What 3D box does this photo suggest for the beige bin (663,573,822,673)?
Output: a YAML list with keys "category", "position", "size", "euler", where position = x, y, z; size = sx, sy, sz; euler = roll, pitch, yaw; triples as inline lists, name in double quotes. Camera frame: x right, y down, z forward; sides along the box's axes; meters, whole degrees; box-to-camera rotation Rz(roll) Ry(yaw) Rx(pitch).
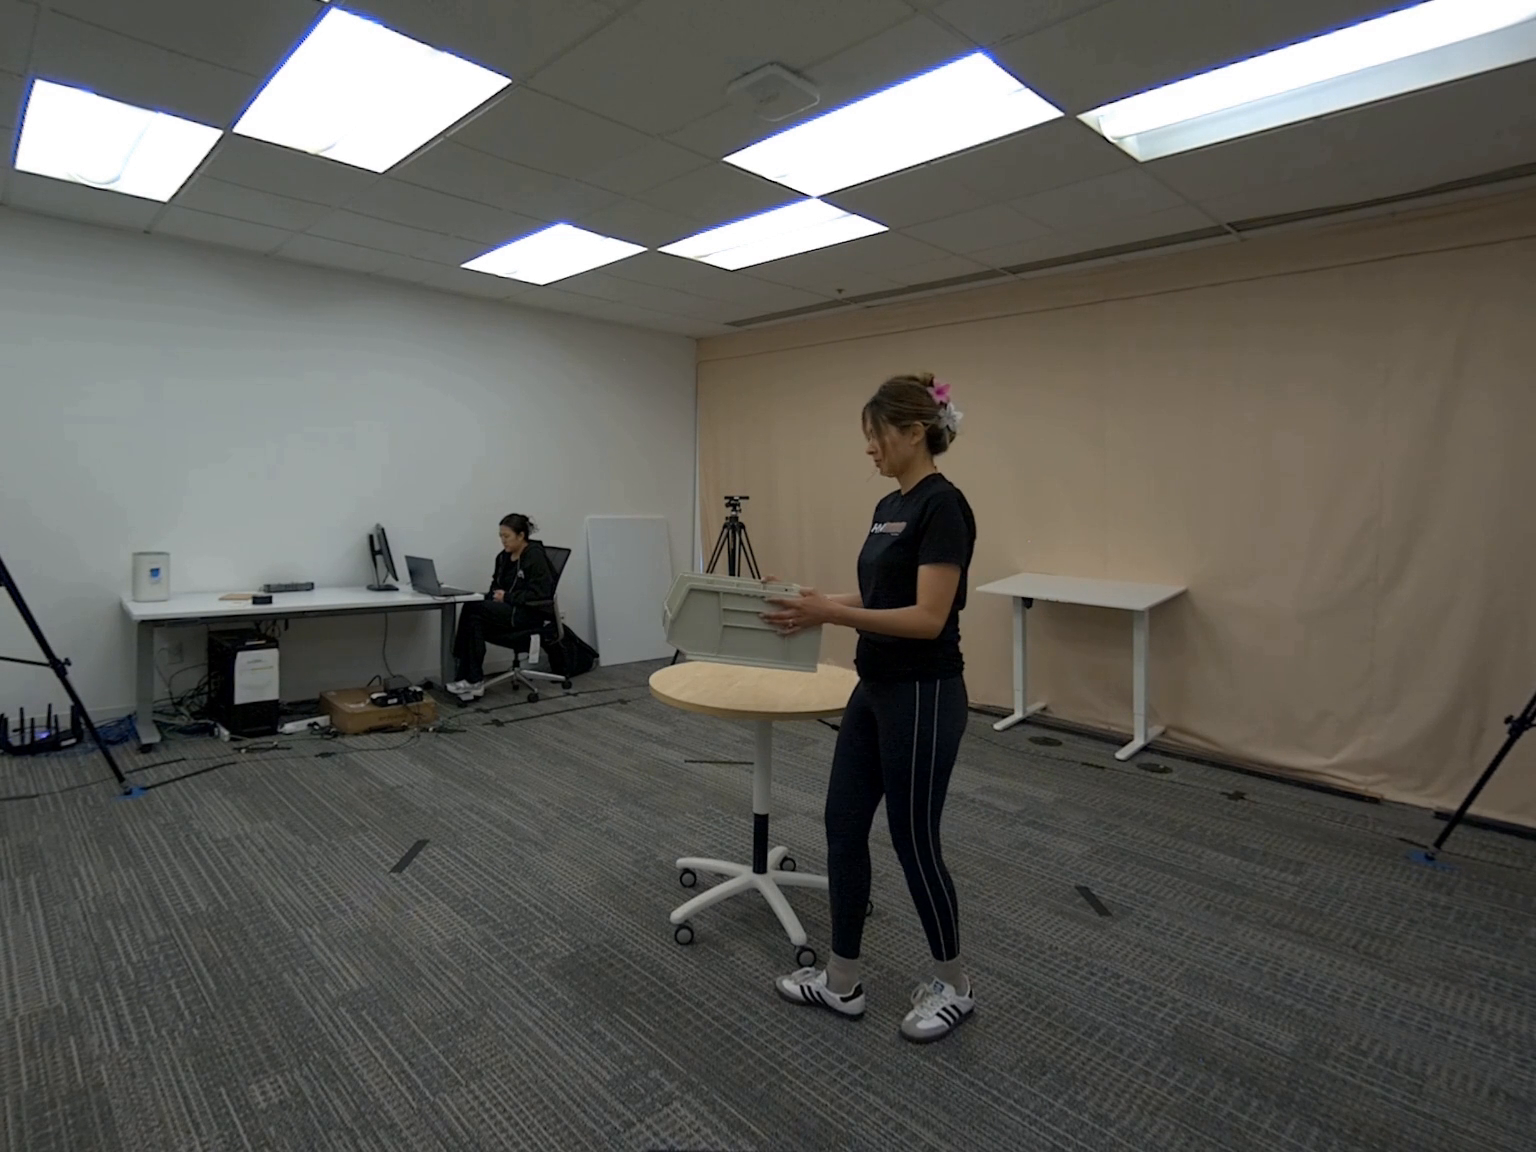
- category: "beige bin"
  position: [-0.088, 0.110, 2.175]
  size: [0.374, 0.189, 0.426]
  euler: [8, 2, -10]
